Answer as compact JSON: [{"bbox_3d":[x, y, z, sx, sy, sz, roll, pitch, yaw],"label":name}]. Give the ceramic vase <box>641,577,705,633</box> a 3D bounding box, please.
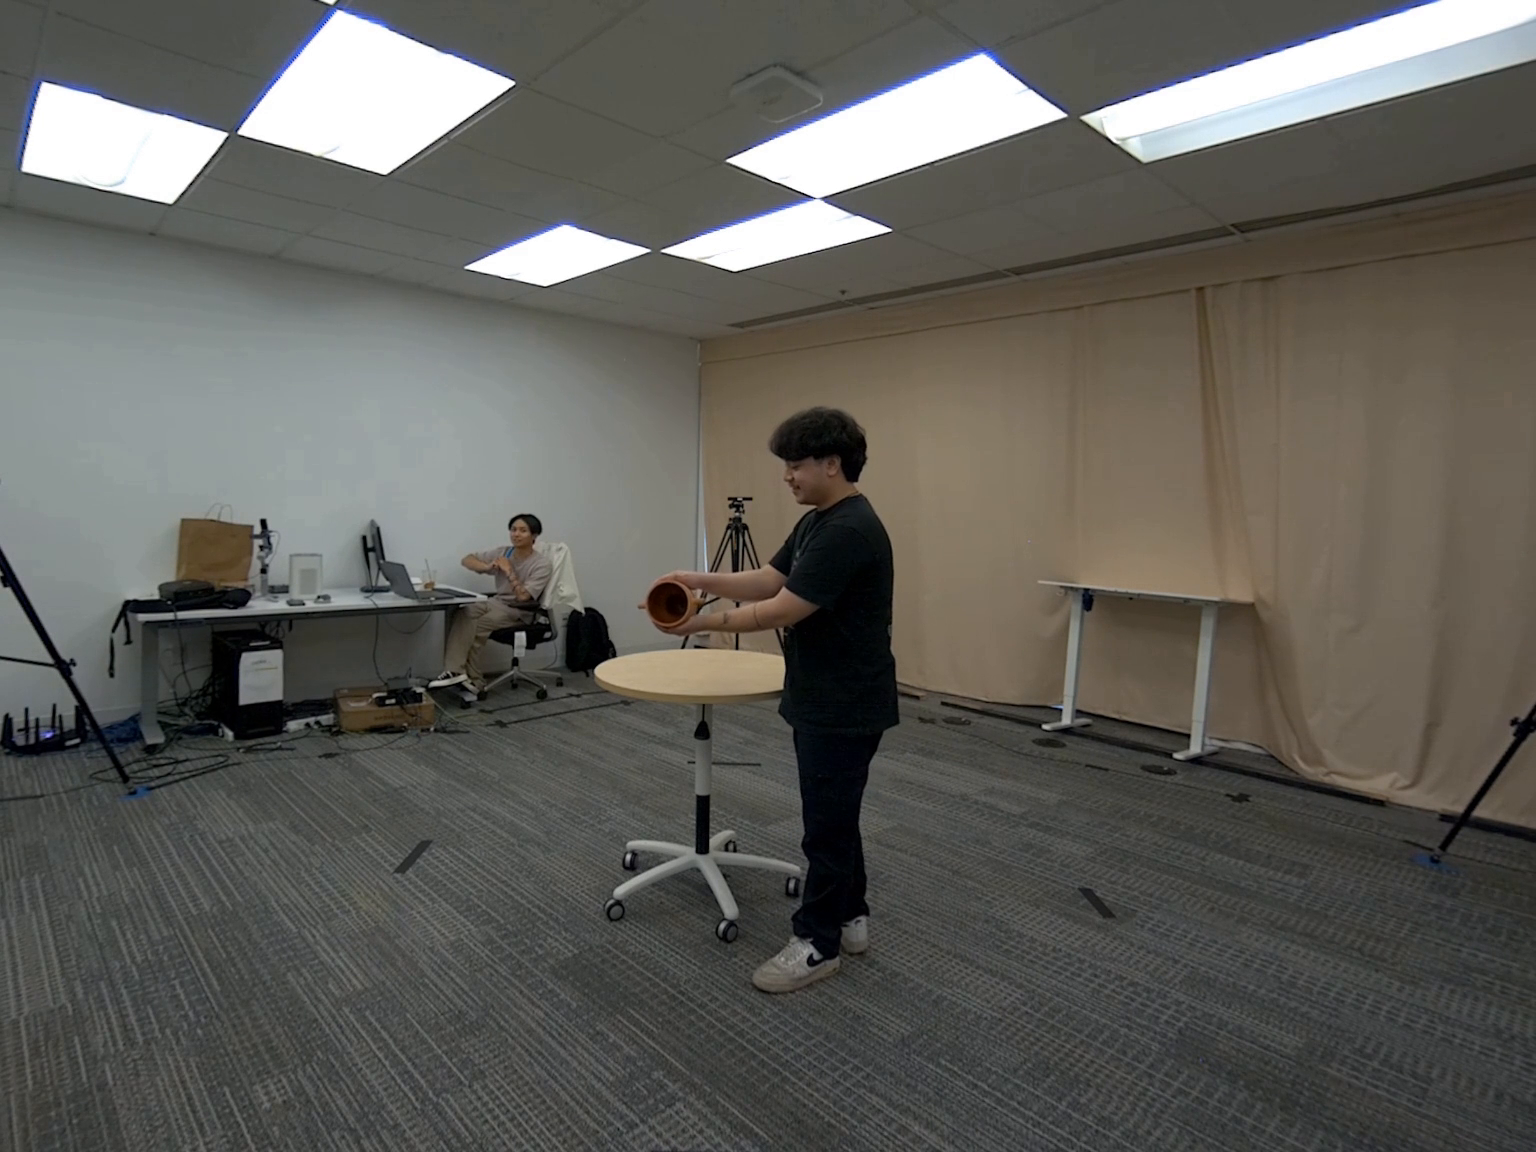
[{"bbox_3d":[-0.272,0.086,2.491,0.161,0.134,0.217,36,-1,9],"label":"ceramic vase"}]
